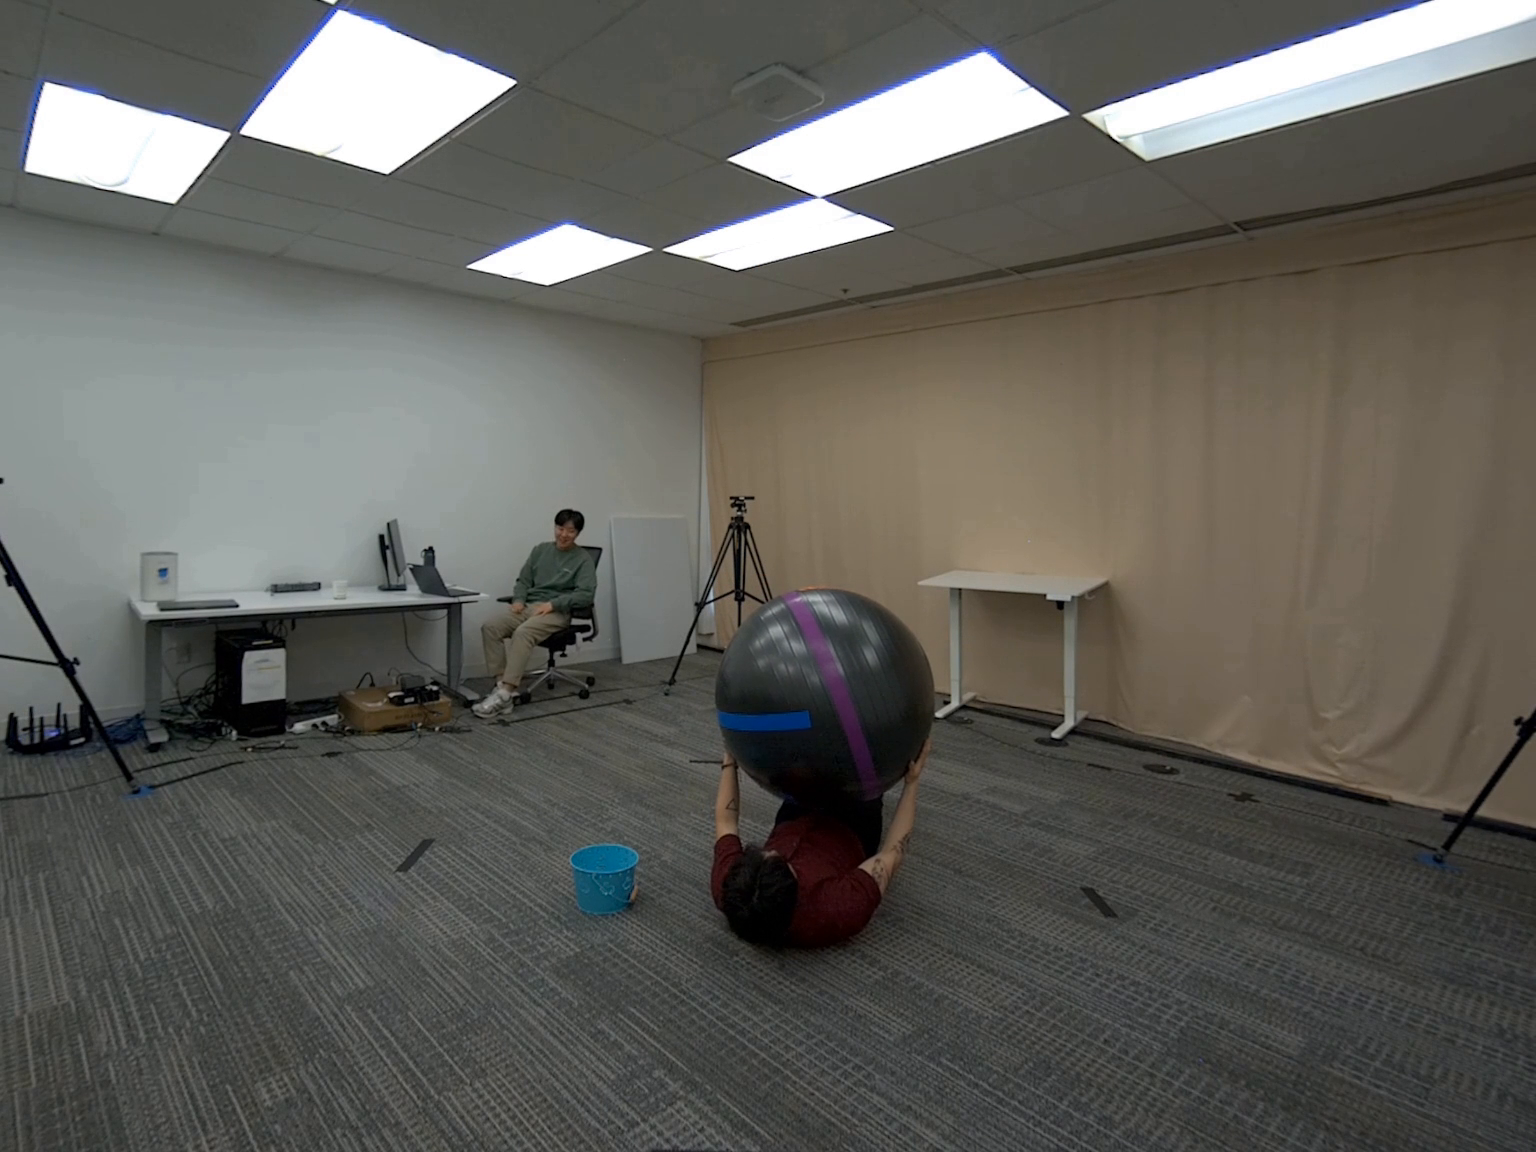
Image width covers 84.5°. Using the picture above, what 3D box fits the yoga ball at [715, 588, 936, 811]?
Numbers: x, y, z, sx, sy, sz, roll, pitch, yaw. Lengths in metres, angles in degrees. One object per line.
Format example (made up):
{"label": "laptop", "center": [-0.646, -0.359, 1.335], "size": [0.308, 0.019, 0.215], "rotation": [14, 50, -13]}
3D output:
{"label": "yoga ball", "center": [0.193, 0.423, 2.956], "size": [0.757, 0.756, 0.761], "rotation": [1, 4, -1]}
